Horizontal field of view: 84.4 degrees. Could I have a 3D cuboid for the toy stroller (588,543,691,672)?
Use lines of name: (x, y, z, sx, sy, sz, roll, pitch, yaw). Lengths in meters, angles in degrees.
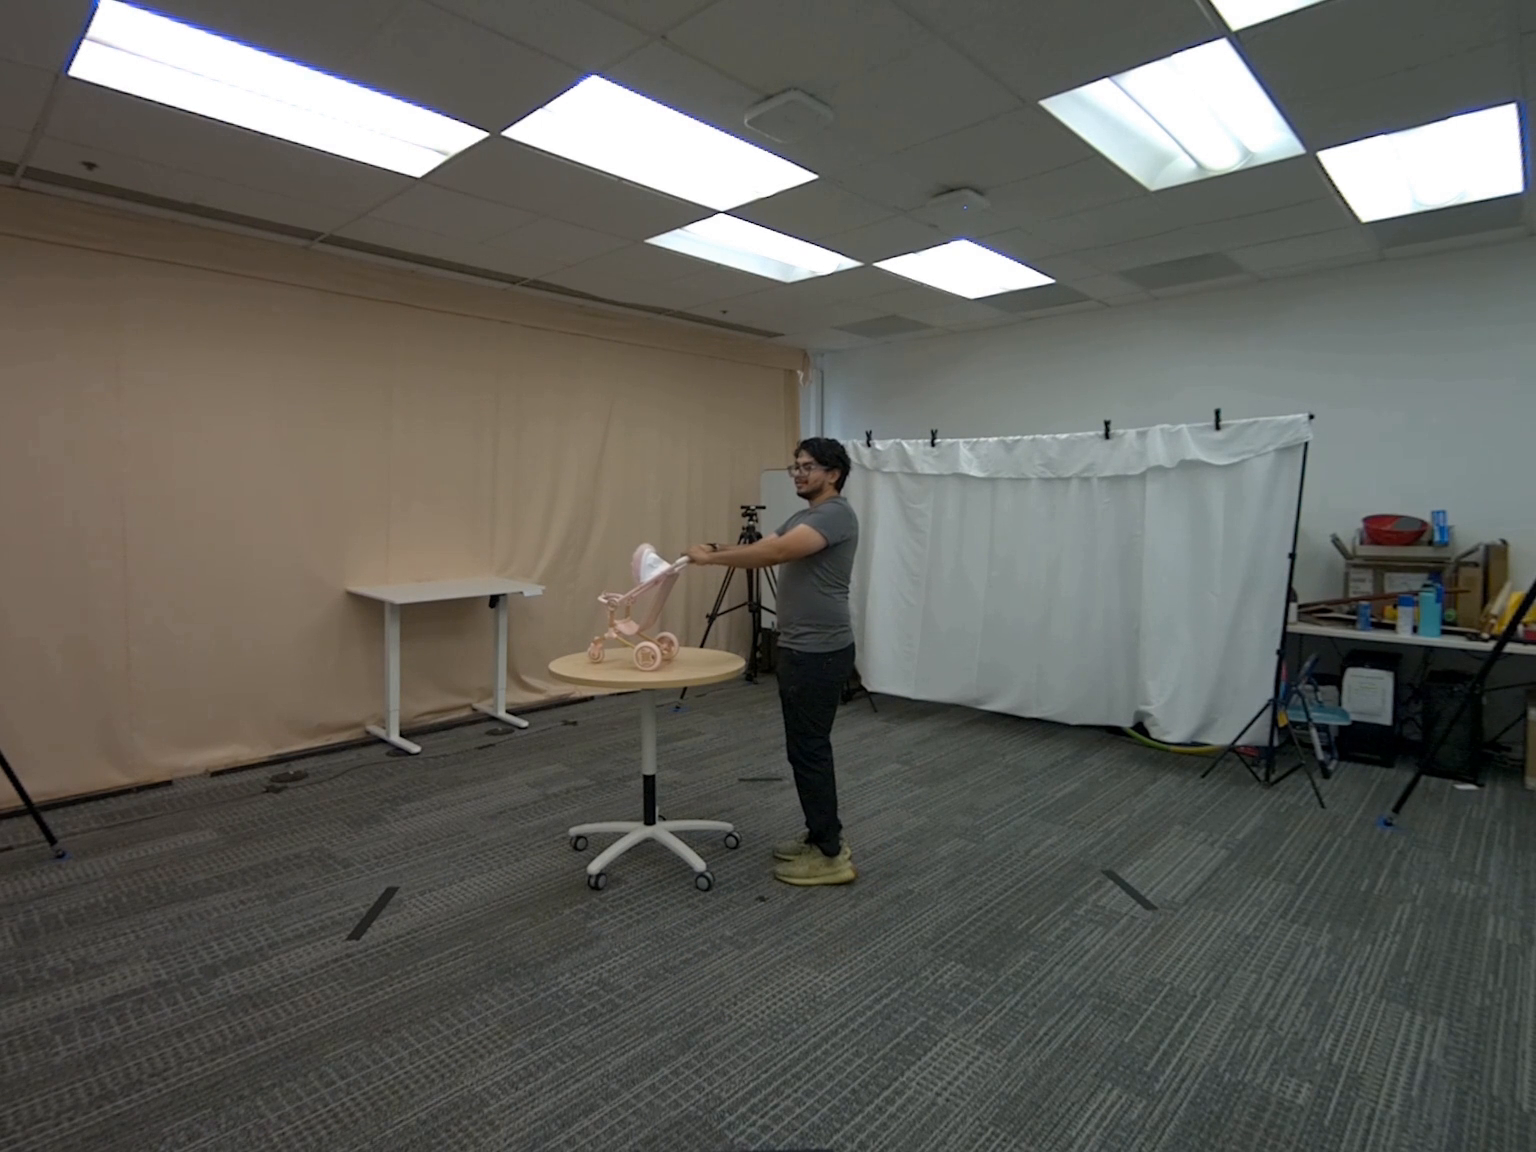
toy stroller: (-0.491, 0.120, 3.240, 0.348, 0.534, 0.277, 16, 6, 15)
